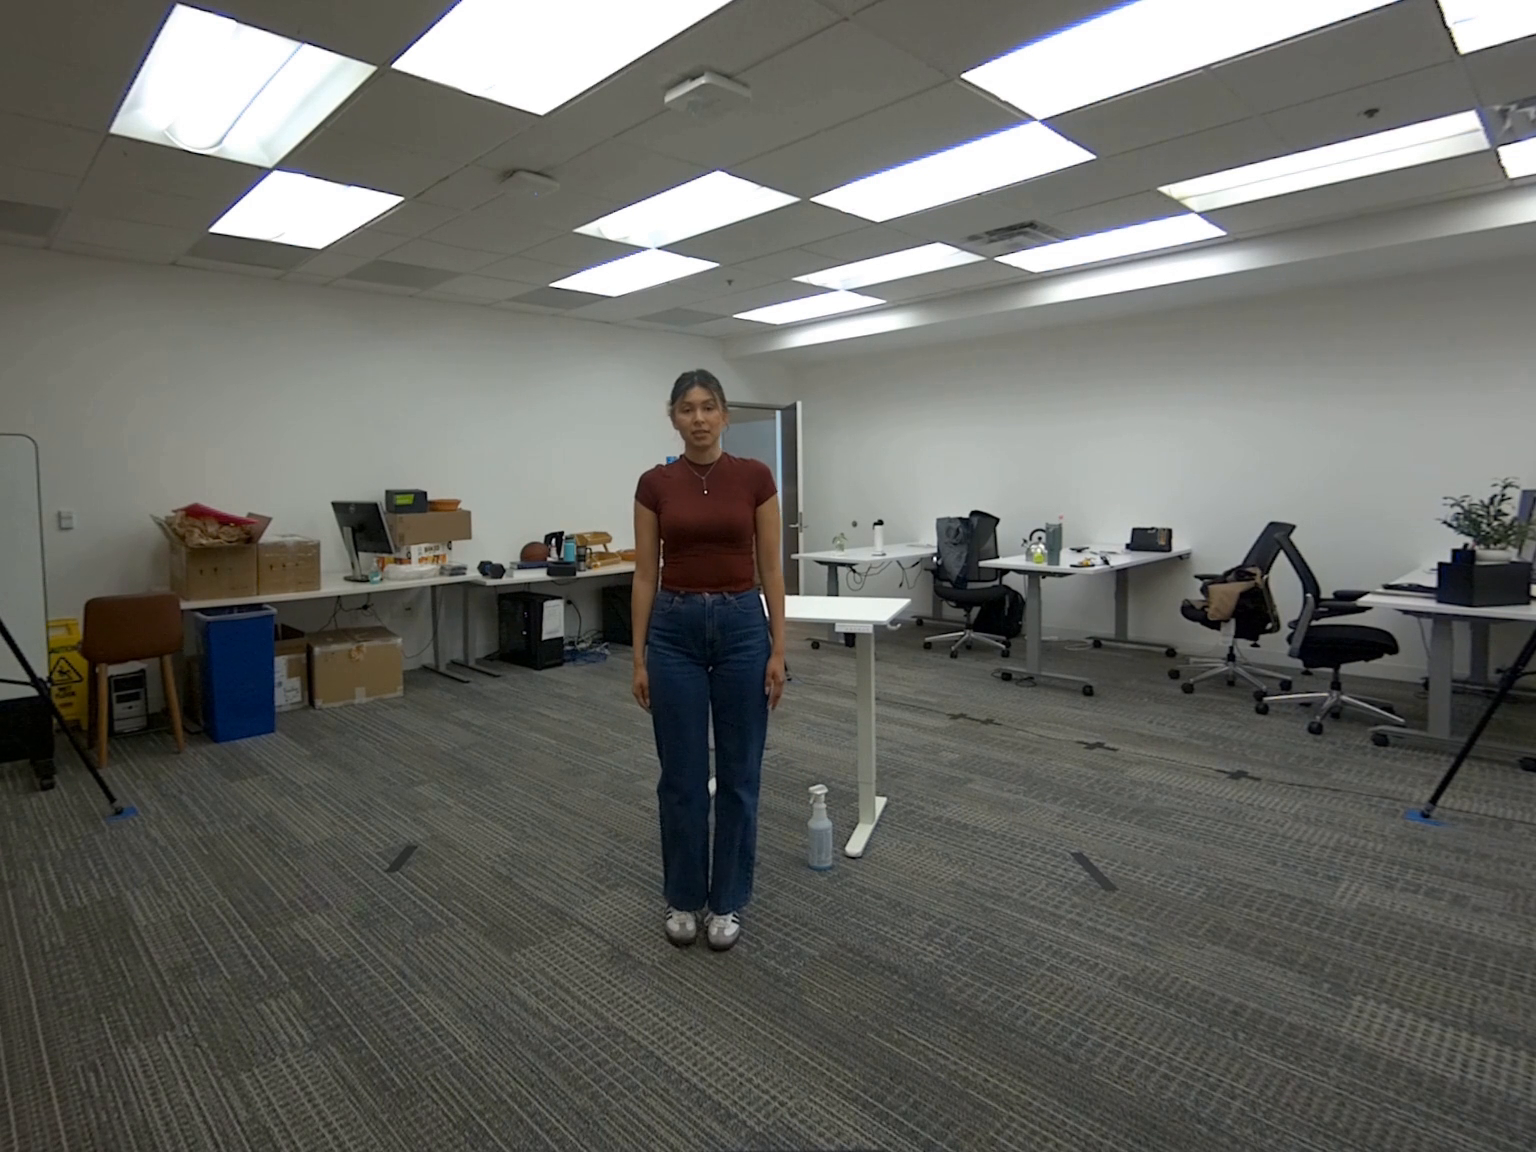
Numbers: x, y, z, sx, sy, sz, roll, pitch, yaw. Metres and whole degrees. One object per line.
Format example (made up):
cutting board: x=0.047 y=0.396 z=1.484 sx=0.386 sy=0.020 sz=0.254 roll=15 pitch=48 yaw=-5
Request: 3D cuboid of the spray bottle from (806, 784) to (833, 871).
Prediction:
spray bottle: x=0.186 y=0.897 z=3.068 sx=0.089 sy=0.296 sz=0.088 roll=-3 pitch=4 yaw=-14
